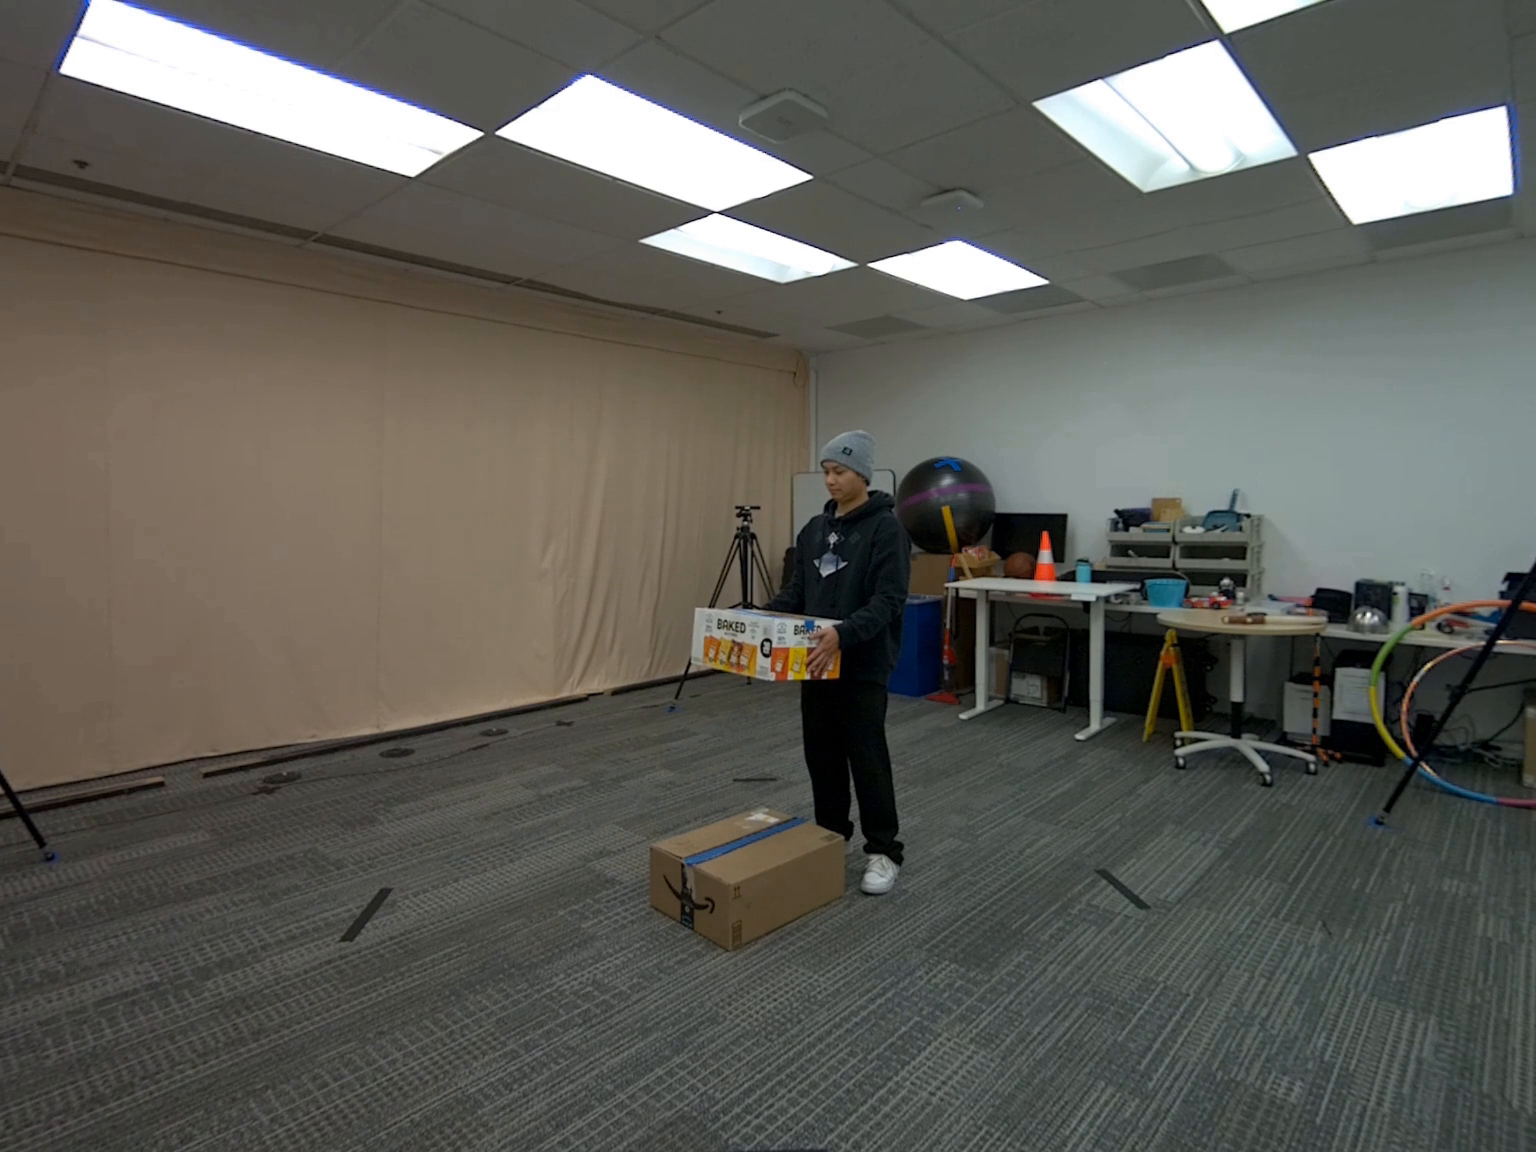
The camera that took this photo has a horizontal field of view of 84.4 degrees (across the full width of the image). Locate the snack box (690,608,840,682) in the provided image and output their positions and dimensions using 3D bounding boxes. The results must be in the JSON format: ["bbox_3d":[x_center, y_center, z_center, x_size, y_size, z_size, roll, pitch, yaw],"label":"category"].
[{"bbox_3d":[-0.008,0.239,2.980,0.329,0.206,0.419,6,0,-42],"label":"snack box"}]
